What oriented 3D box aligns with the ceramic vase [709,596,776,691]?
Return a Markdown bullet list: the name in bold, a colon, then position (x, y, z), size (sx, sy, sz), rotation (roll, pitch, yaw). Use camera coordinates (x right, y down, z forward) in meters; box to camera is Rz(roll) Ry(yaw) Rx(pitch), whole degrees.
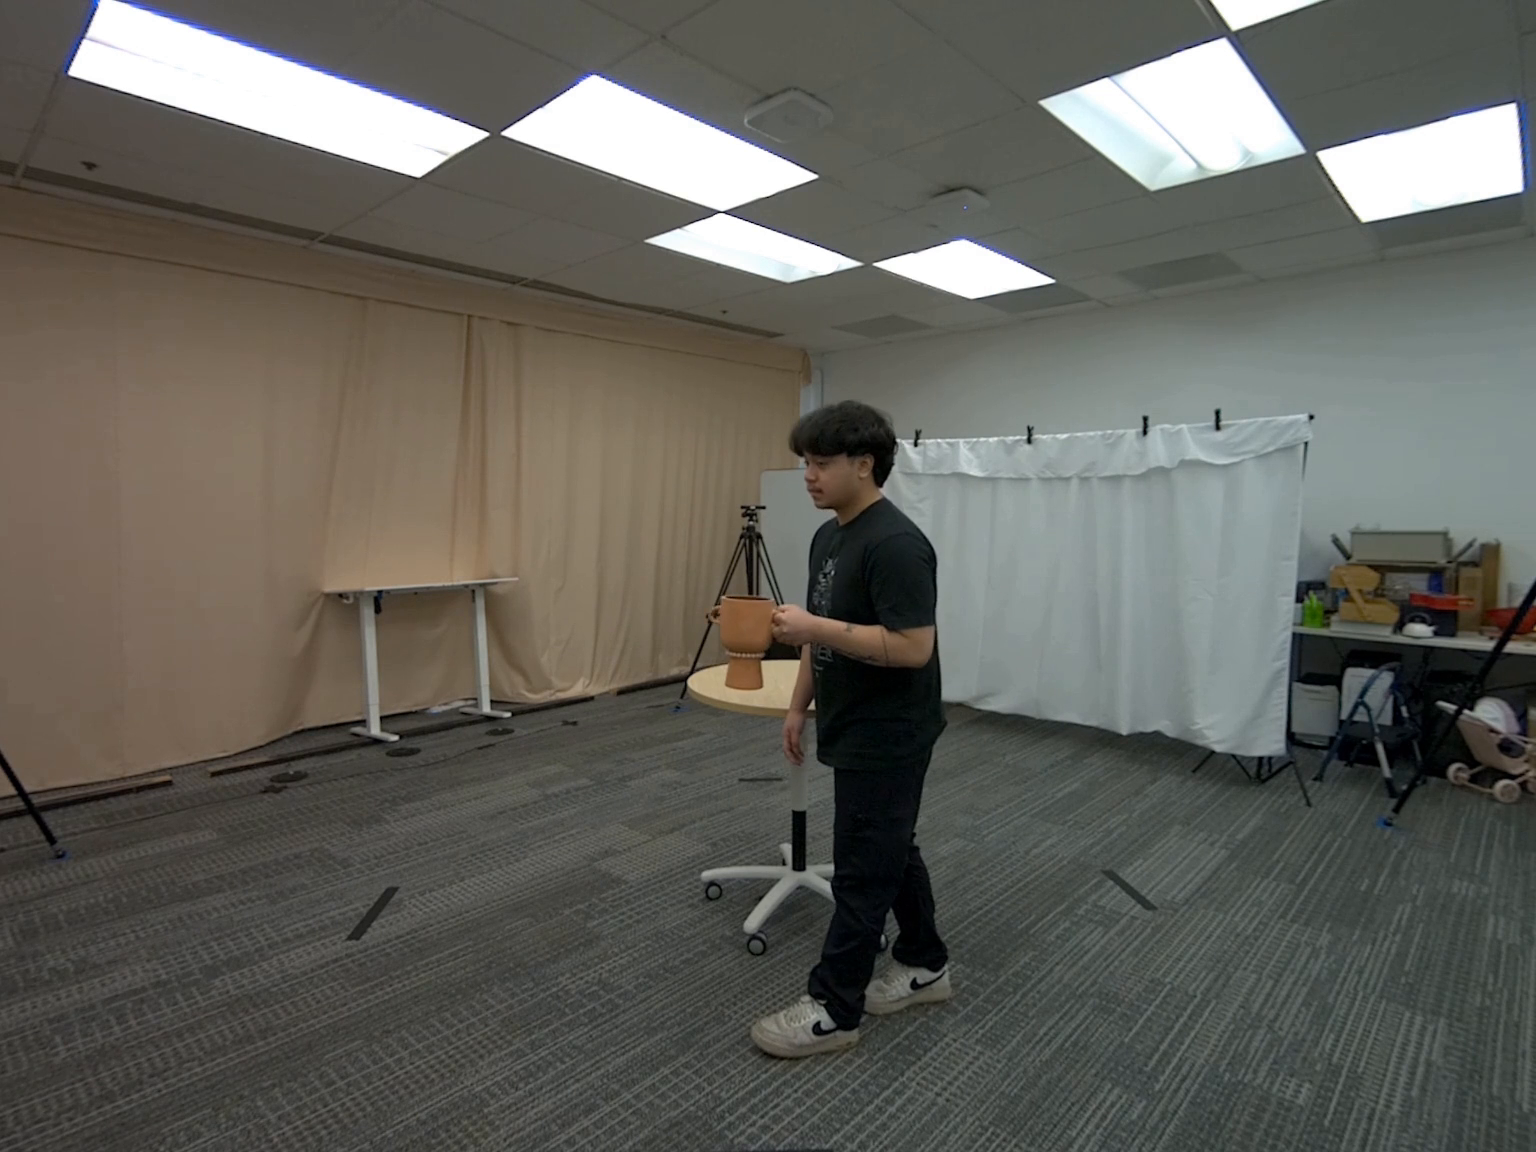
- **ceramic vase**: position (-0.045, 0.163, 2.086), size (0.130, 0.219, 0.164), rotation (0, 2, -36)
